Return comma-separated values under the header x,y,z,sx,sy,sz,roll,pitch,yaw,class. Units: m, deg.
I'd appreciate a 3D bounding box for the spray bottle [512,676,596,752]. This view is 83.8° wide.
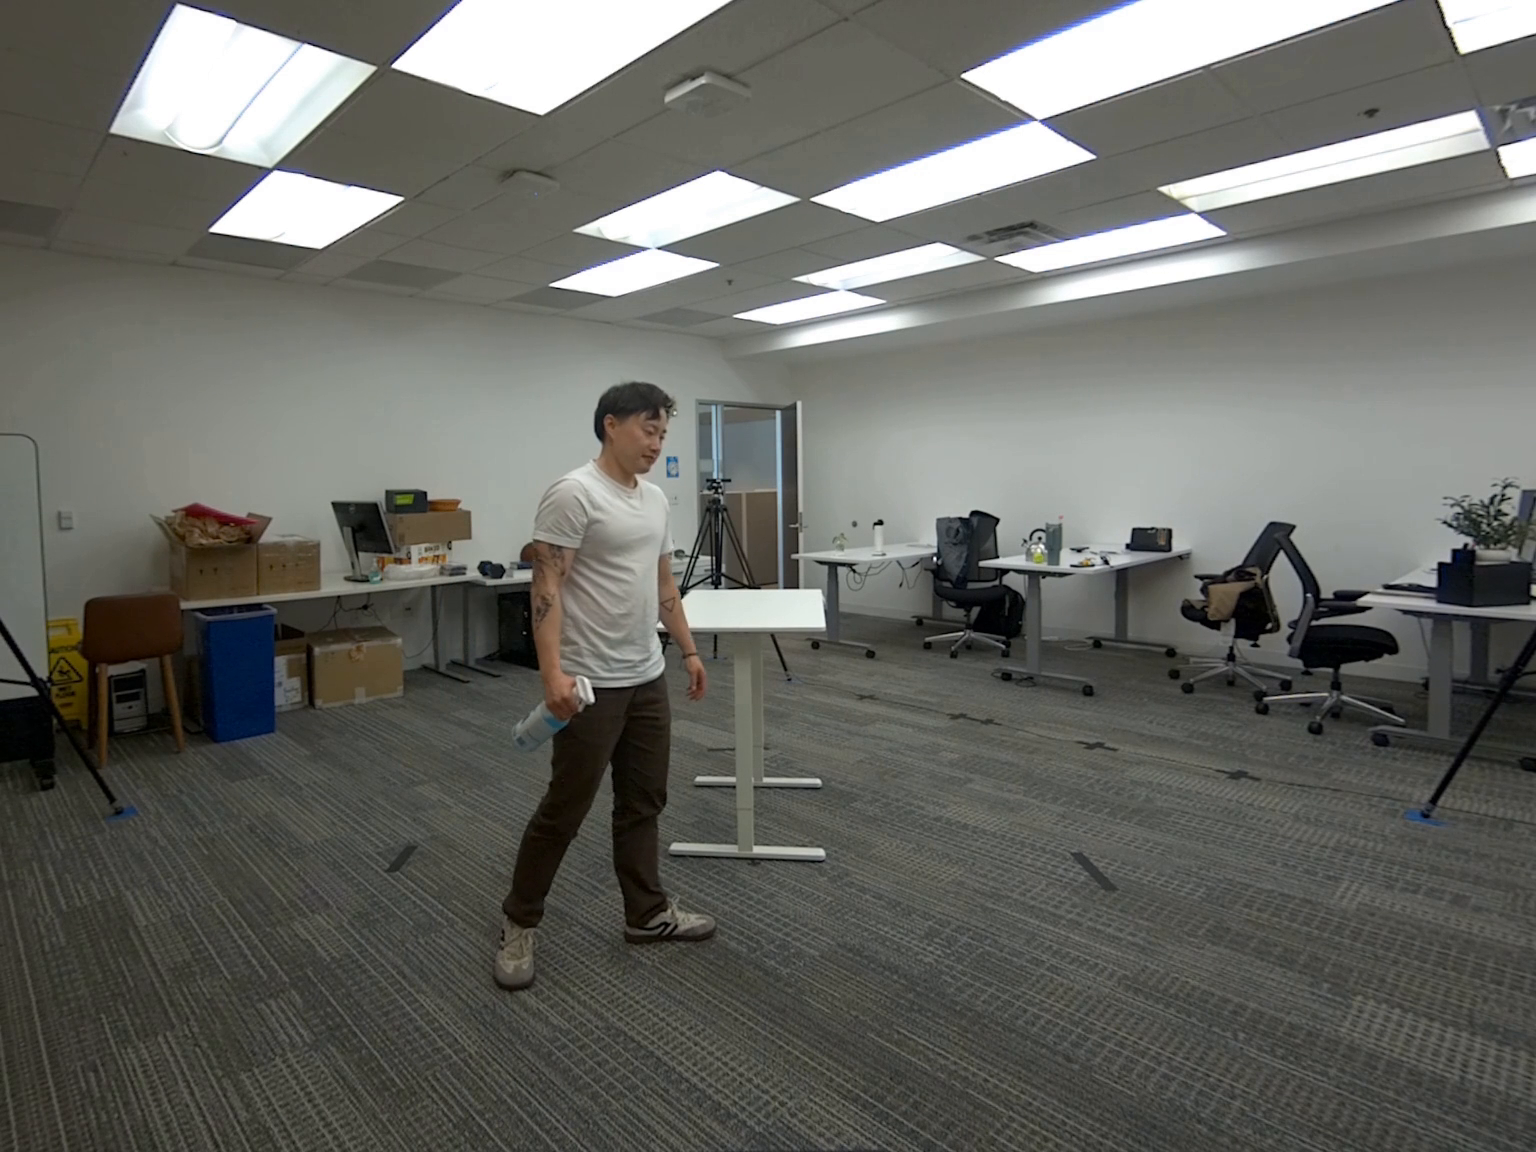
x,y,z,sx,sy,sz,roll,pitch,yaw,class
-0.562,0.368,2.221,0.085,0.092,0.298,35,-57,-23,spray bottle
